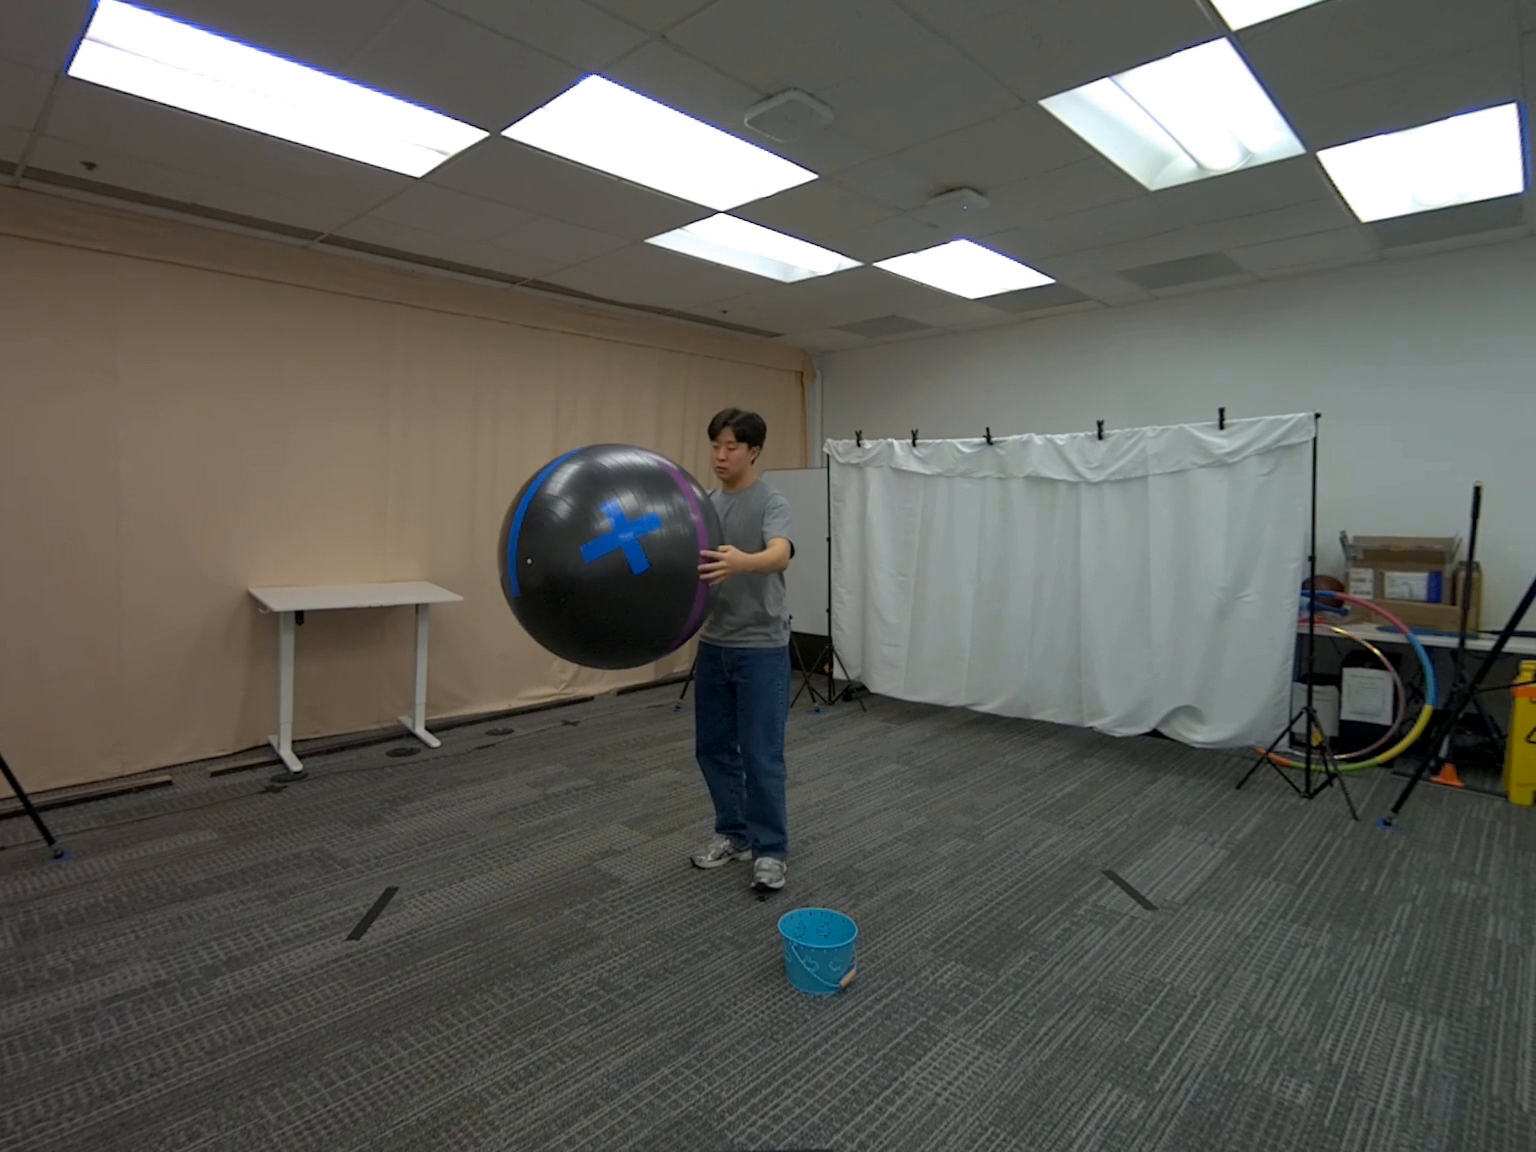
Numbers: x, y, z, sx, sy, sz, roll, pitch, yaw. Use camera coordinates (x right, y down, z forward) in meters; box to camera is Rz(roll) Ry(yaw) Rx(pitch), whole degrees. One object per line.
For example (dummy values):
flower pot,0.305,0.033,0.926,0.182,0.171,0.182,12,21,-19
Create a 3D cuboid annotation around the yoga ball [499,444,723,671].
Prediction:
yoga ball,-0.526,-0.054,2.838,0.757,0.756,0.761,0,4,-2
